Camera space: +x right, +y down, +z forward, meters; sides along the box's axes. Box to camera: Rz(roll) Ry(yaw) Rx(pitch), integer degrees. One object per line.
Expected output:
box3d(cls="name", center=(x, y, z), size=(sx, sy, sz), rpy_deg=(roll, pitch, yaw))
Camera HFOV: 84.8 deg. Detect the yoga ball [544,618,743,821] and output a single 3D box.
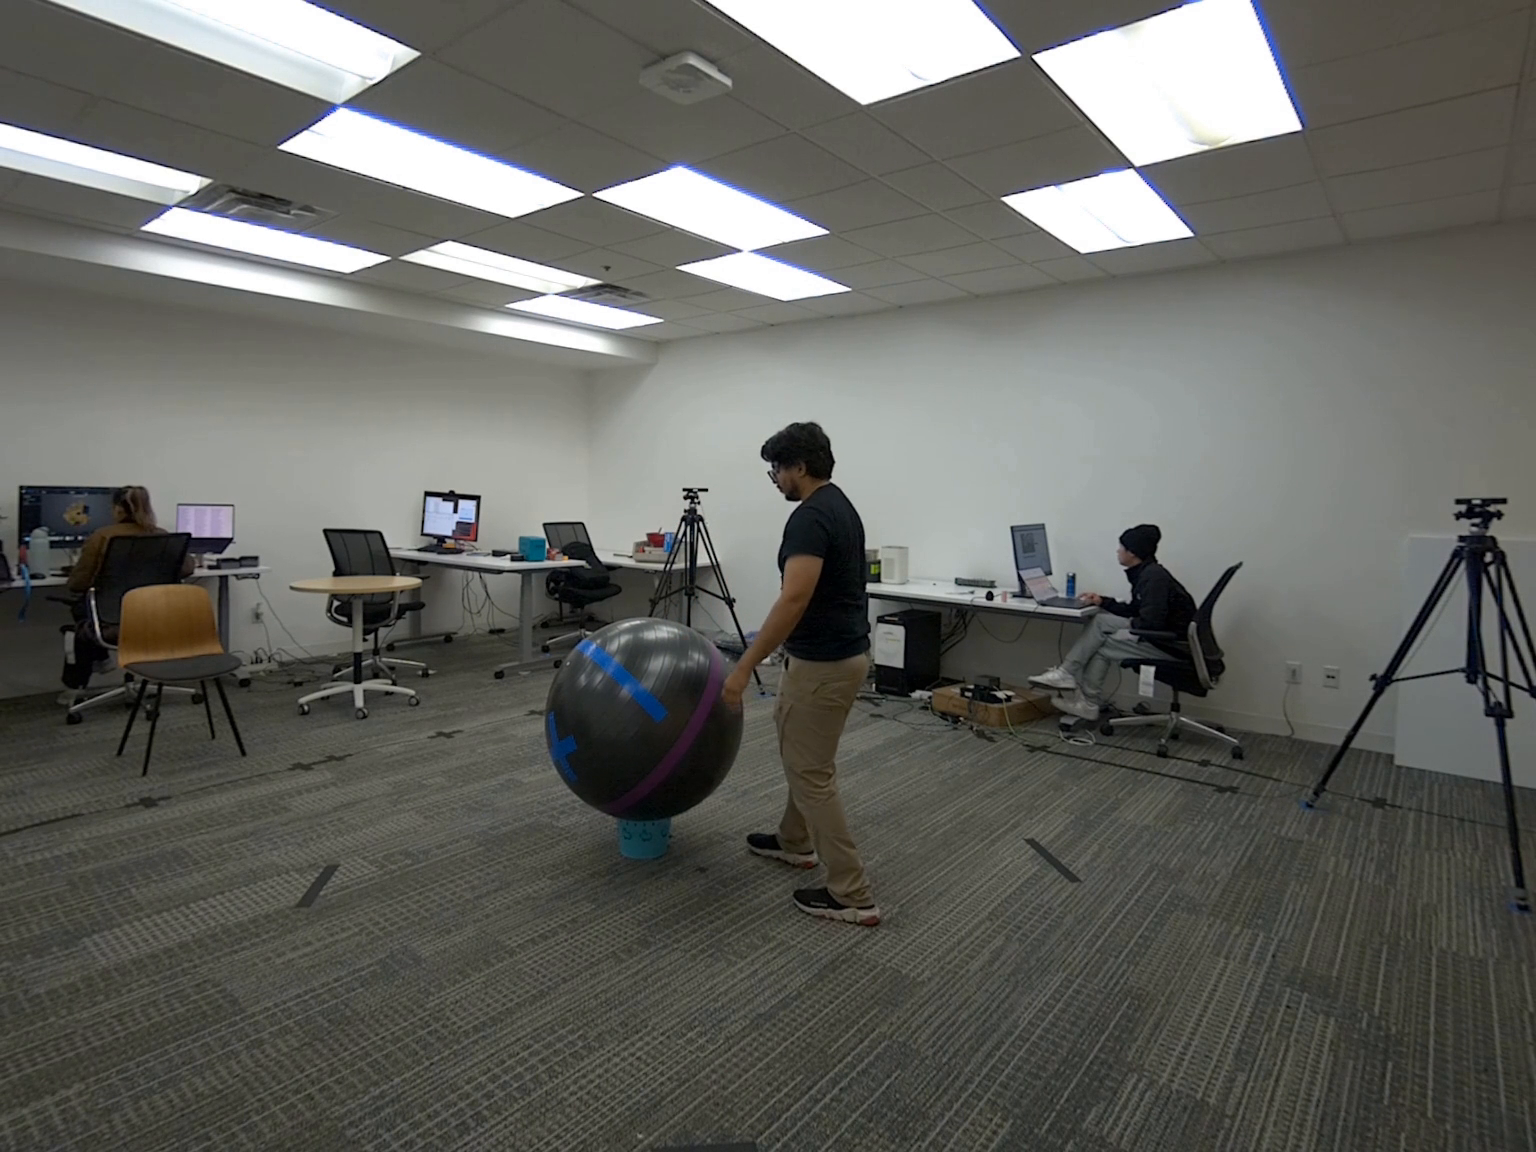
box3d(cls="yoga ball", center=(-0.487, 0.544, 3.256), size=(0.757, 0.756, 0.761), rpy_deg=(1, 4, -2))
